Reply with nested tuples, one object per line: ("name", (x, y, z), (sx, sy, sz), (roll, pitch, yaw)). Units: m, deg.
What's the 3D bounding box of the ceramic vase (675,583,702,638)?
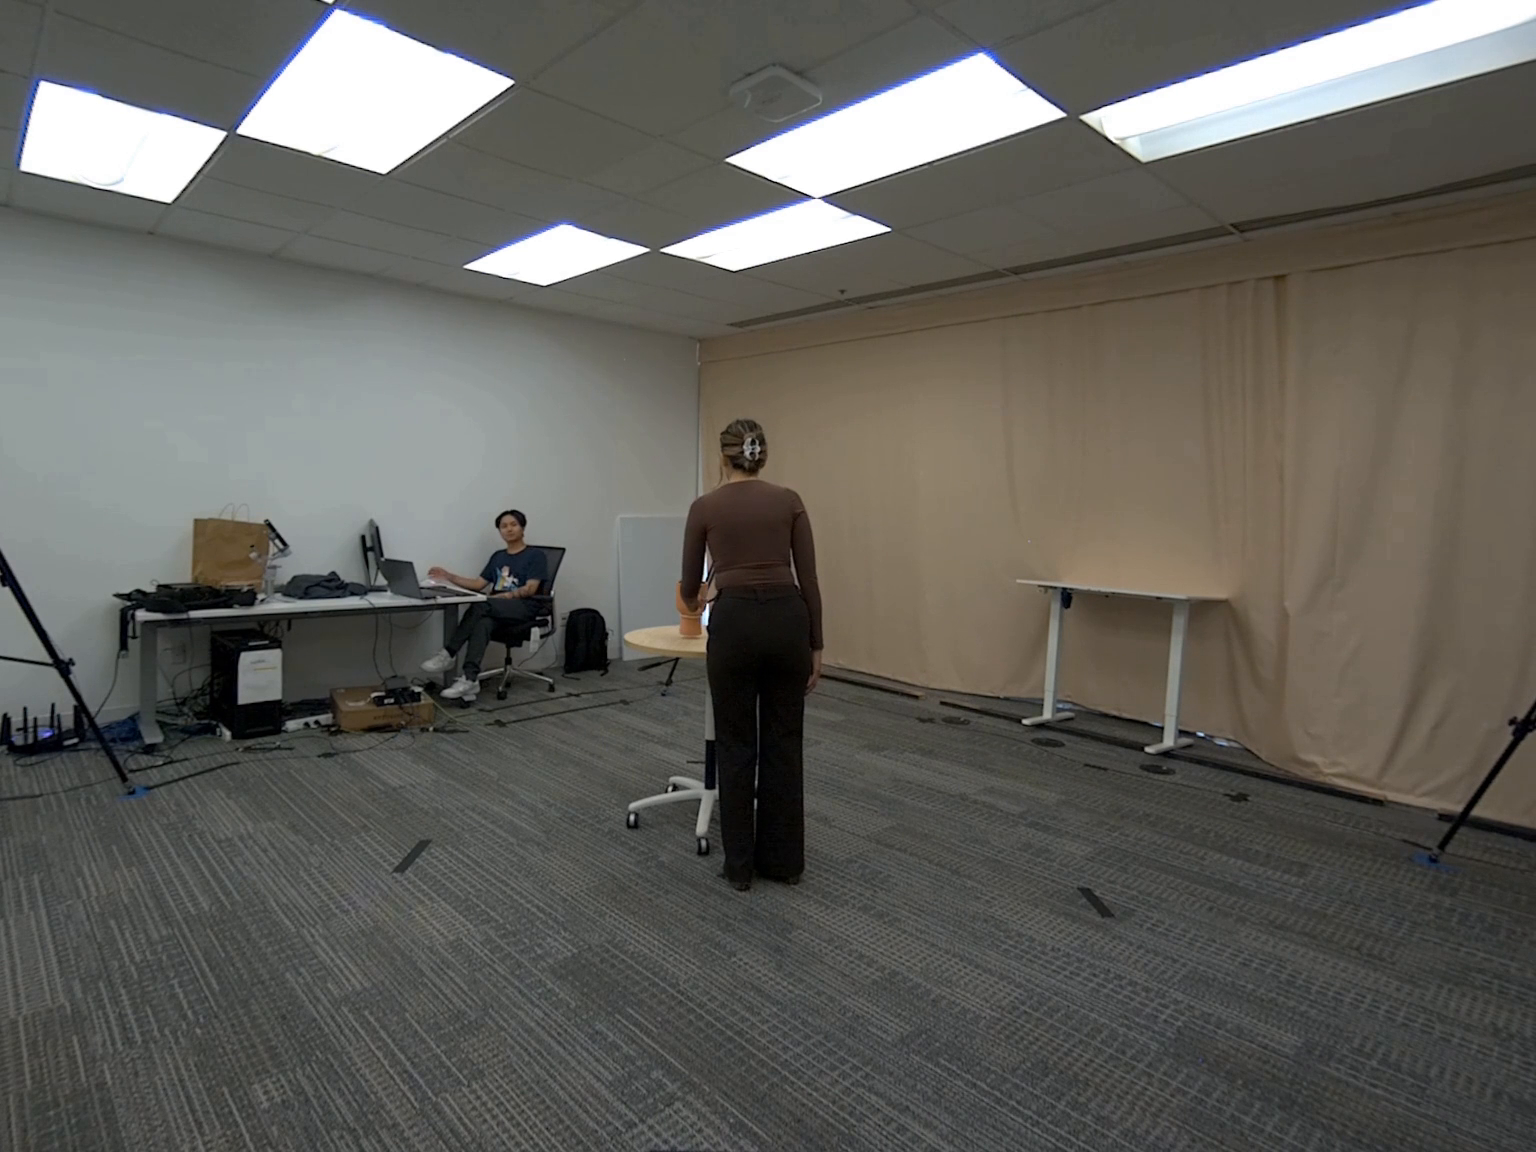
("ceramic vase", (-0.335, 0.135, 3.558), (0.137, 0.219, 0.156), (5, 7, 22))
